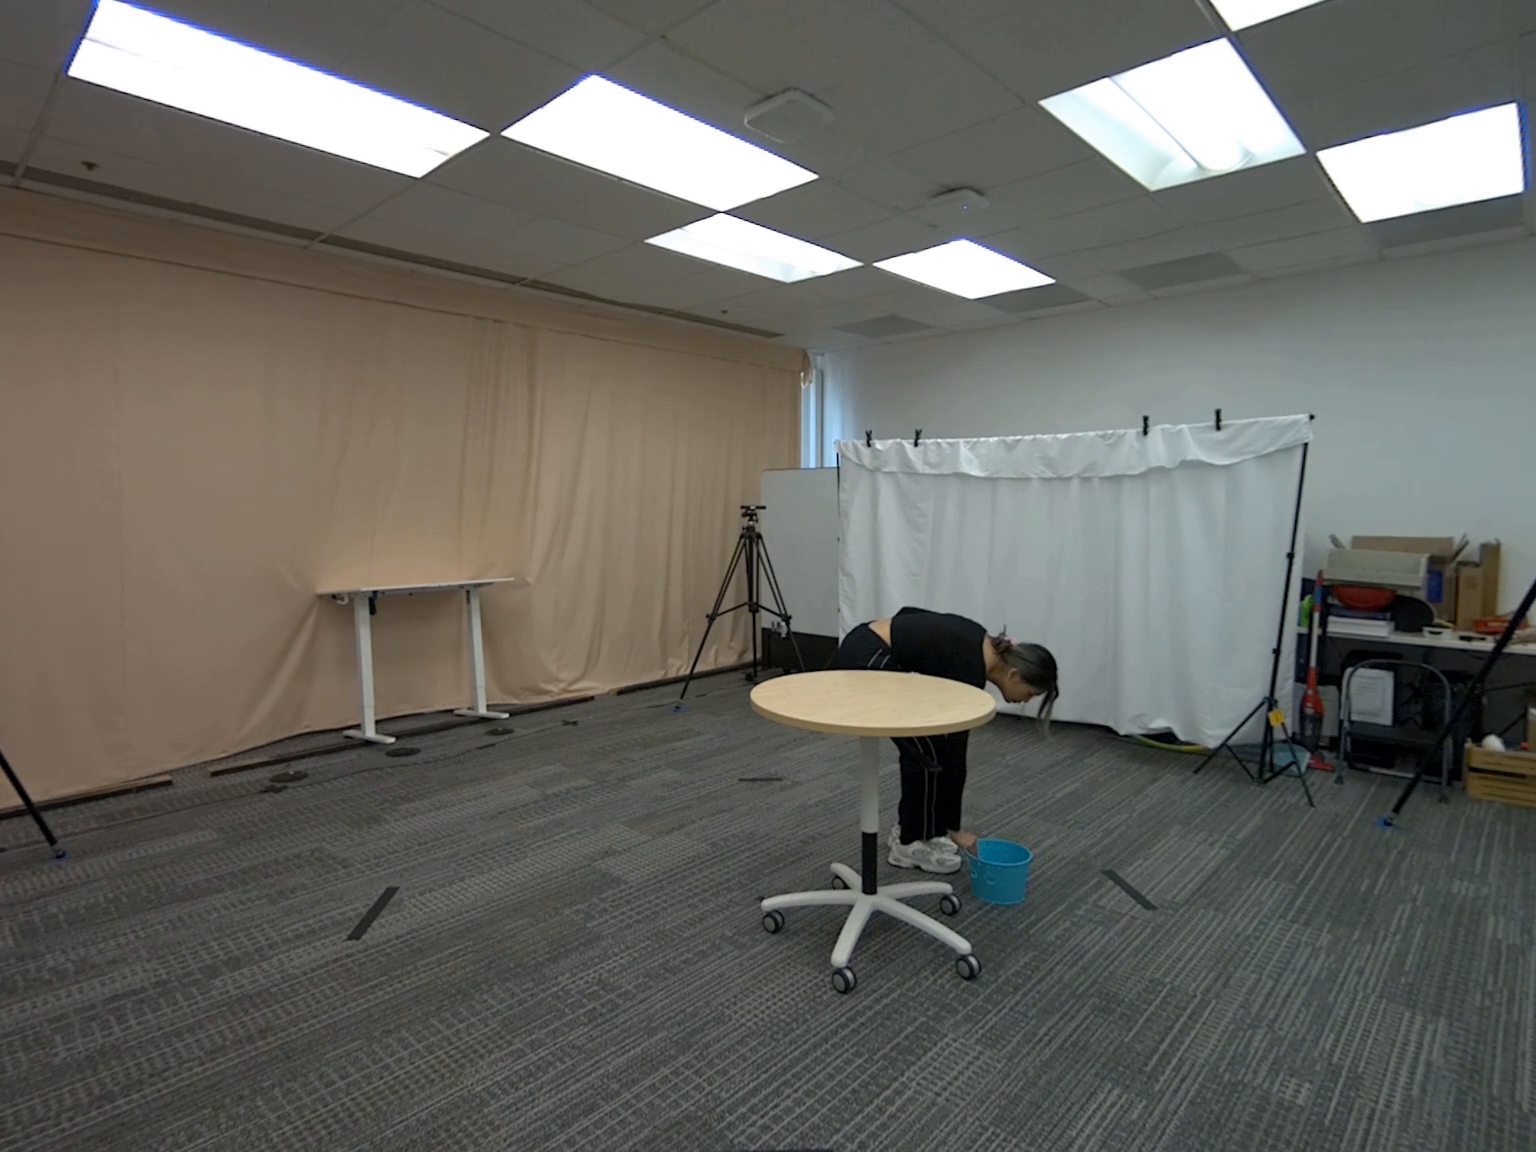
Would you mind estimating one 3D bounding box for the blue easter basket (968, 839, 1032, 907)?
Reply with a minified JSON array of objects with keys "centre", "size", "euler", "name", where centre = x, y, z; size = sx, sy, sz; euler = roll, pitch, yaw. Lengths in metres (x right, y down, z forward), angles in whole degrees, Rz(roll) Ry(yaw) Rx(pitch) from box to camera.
[{"centre":[0.836,1.062,3.023],"size":[0.243,0.155,0.244],"euler":[0,4,-2],"name":"blue easter basket"}]
